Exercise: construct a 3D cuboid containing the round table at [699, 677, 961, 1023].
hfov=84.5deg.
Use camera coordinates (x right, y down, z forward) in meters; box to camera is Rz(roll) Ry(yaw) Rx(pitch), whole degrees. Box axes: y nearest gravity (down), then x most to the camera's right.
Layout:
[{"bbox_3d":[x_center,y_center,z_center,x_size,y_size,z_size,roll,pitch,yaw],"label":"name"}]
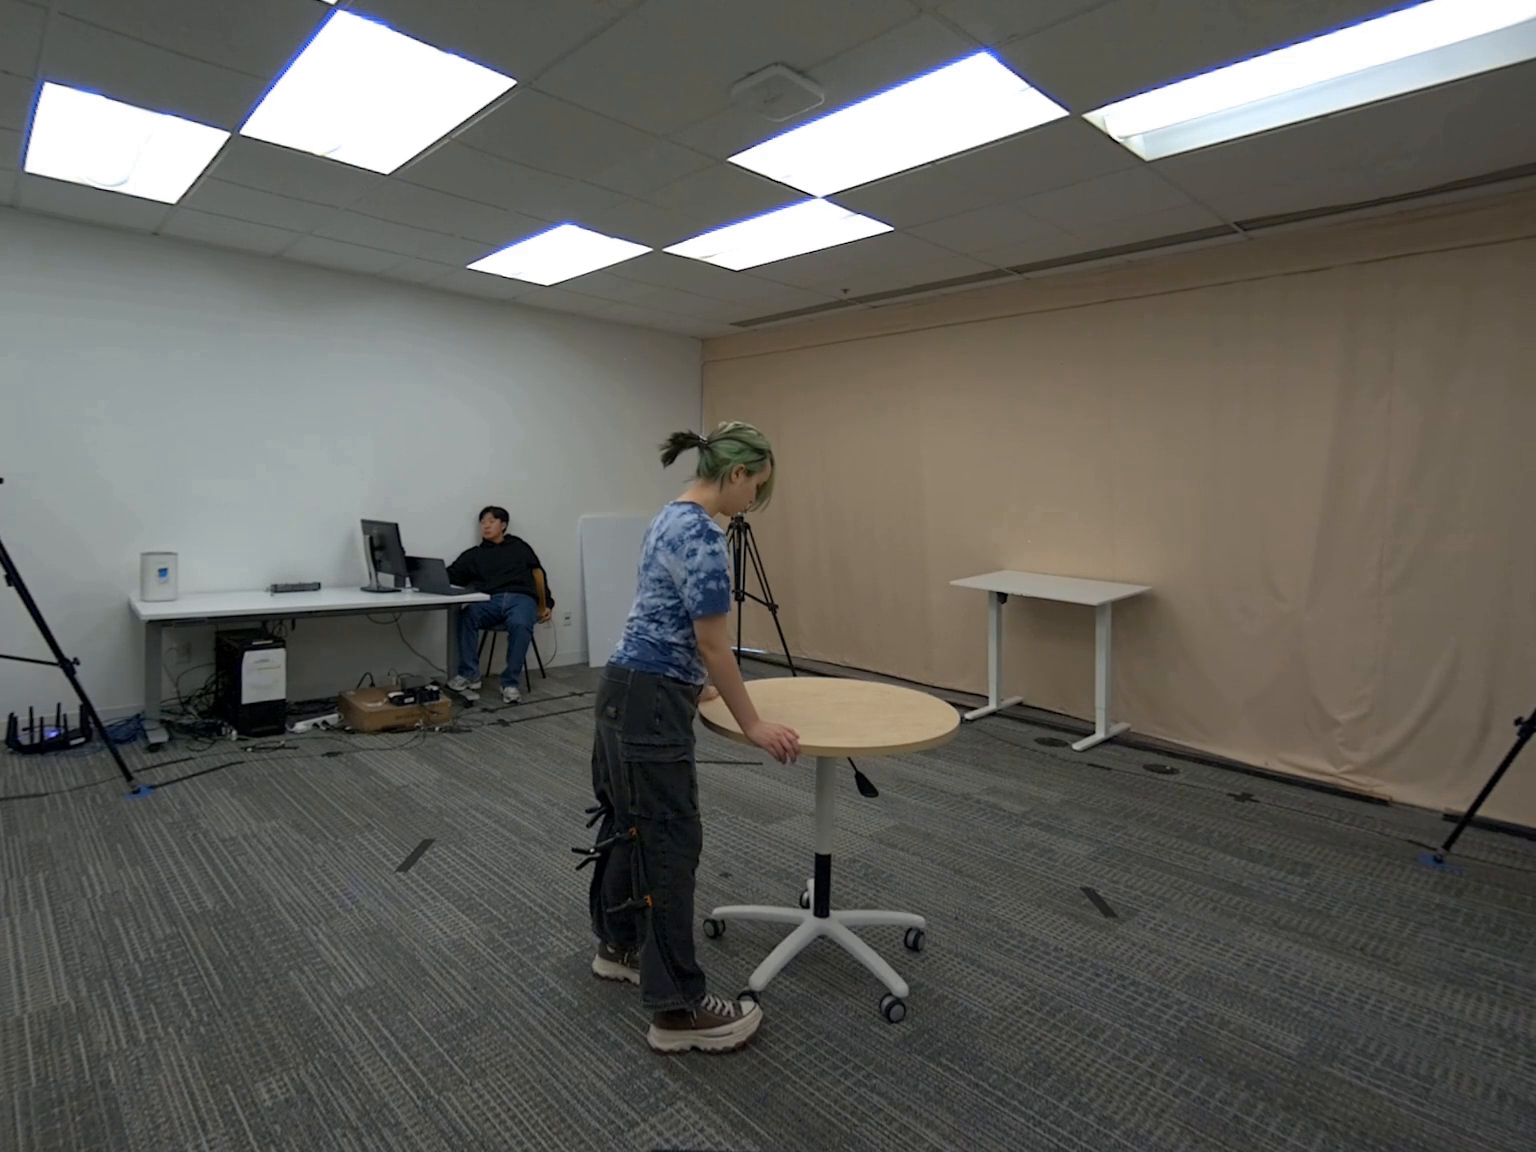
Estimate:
[{"bbox_3d":[0.162,0.780,2.521,0.763,0.791,0.767,1,5,-1],"label":"round table"}]
